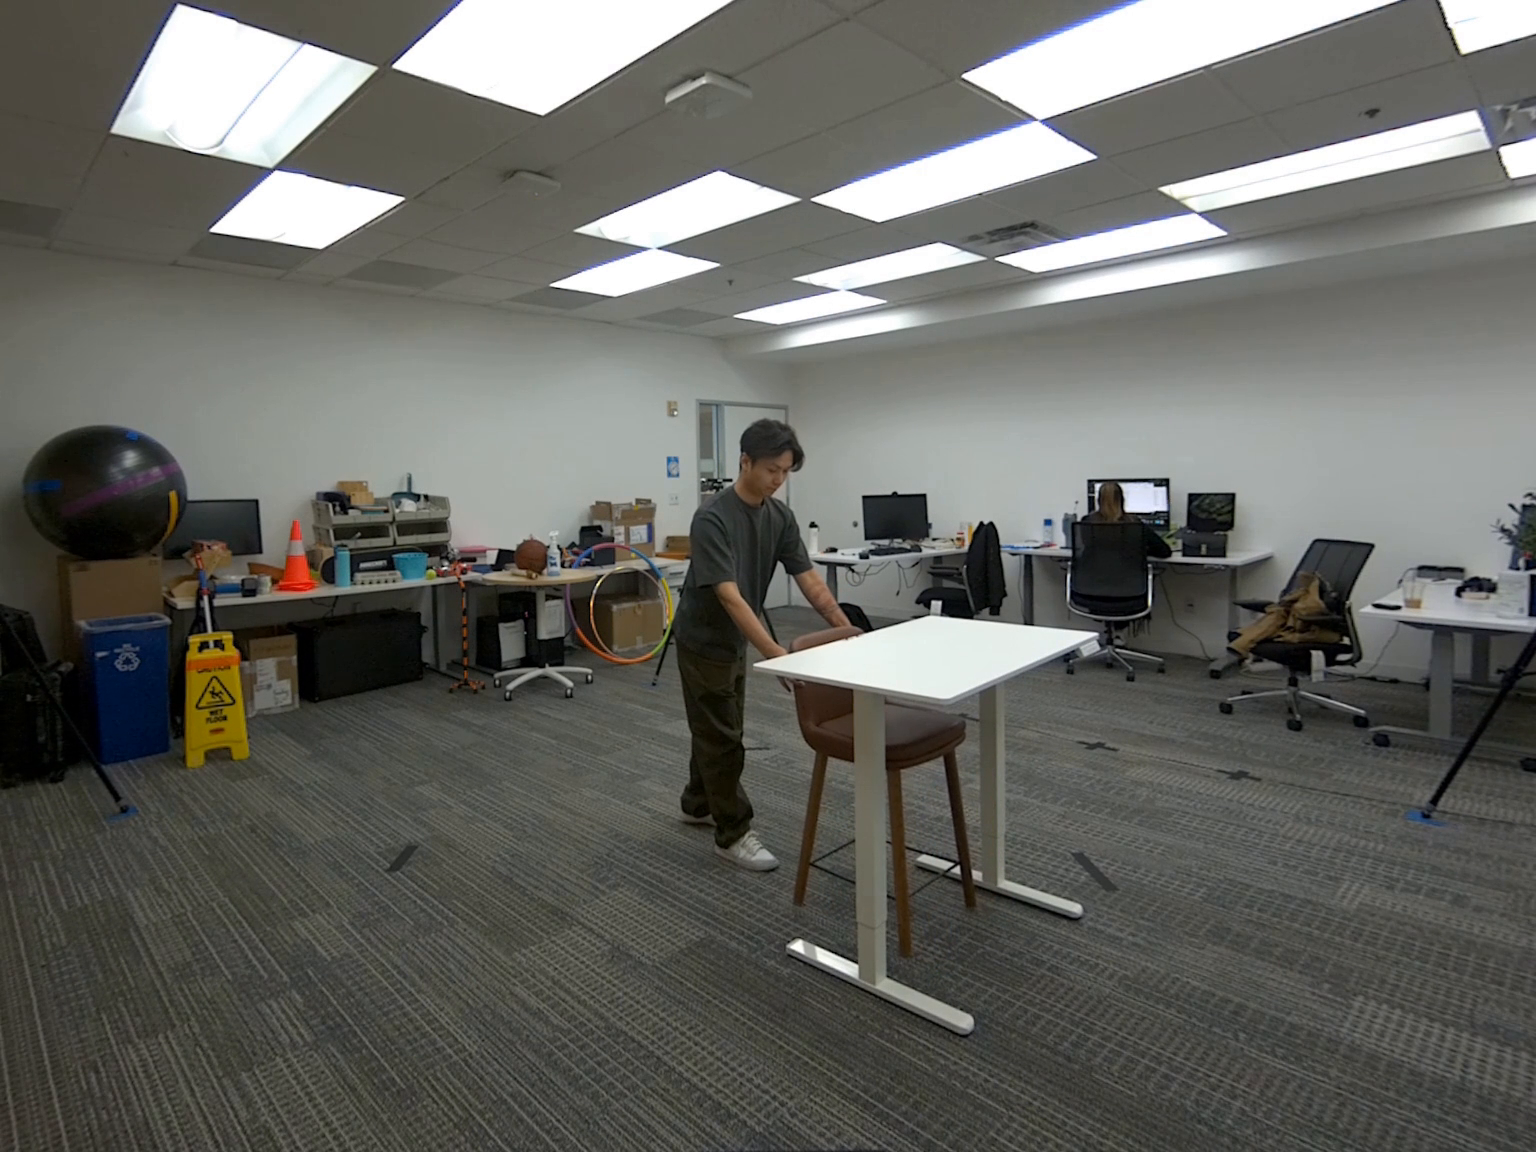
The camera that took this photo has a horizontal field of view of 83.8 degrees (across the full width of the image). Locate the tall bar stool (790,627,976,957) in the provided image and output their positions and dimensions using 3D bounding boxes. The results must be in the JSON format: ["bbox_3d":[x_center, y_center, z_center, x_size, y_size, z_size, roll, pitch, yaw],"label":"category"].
[{"bbox_3d":[0.359,0.638,2.760,0.481,0.888,0.444,-2,3,44],"label":"tall bar stool"}]
